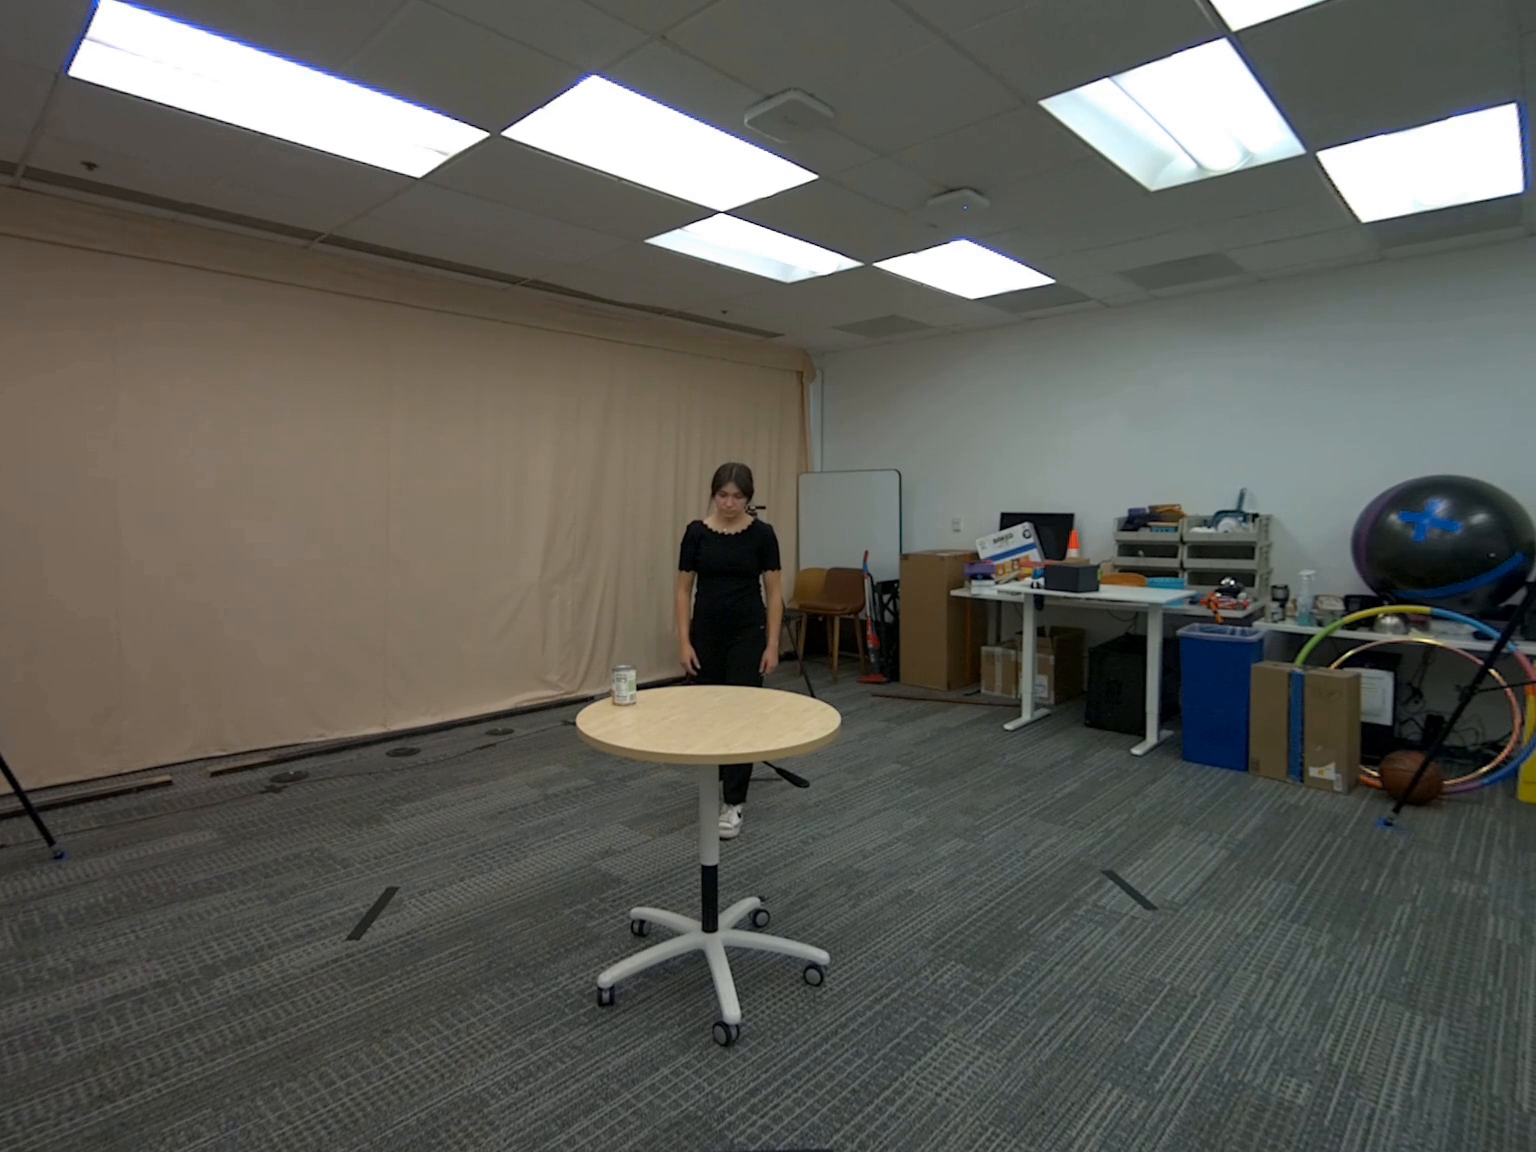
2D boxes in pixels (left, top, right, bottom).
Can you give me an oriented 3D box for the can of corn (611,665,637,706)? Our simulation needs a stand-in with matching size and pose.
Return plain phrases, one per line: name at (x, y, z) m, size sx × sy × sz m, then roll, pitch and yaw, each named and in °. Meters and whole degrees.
can of corn at (-0.438, 0.337, 2.589) m, size 0.074 × 0.111 × 0.074 m, roll -3°, pitch 5°, yaw -2°
